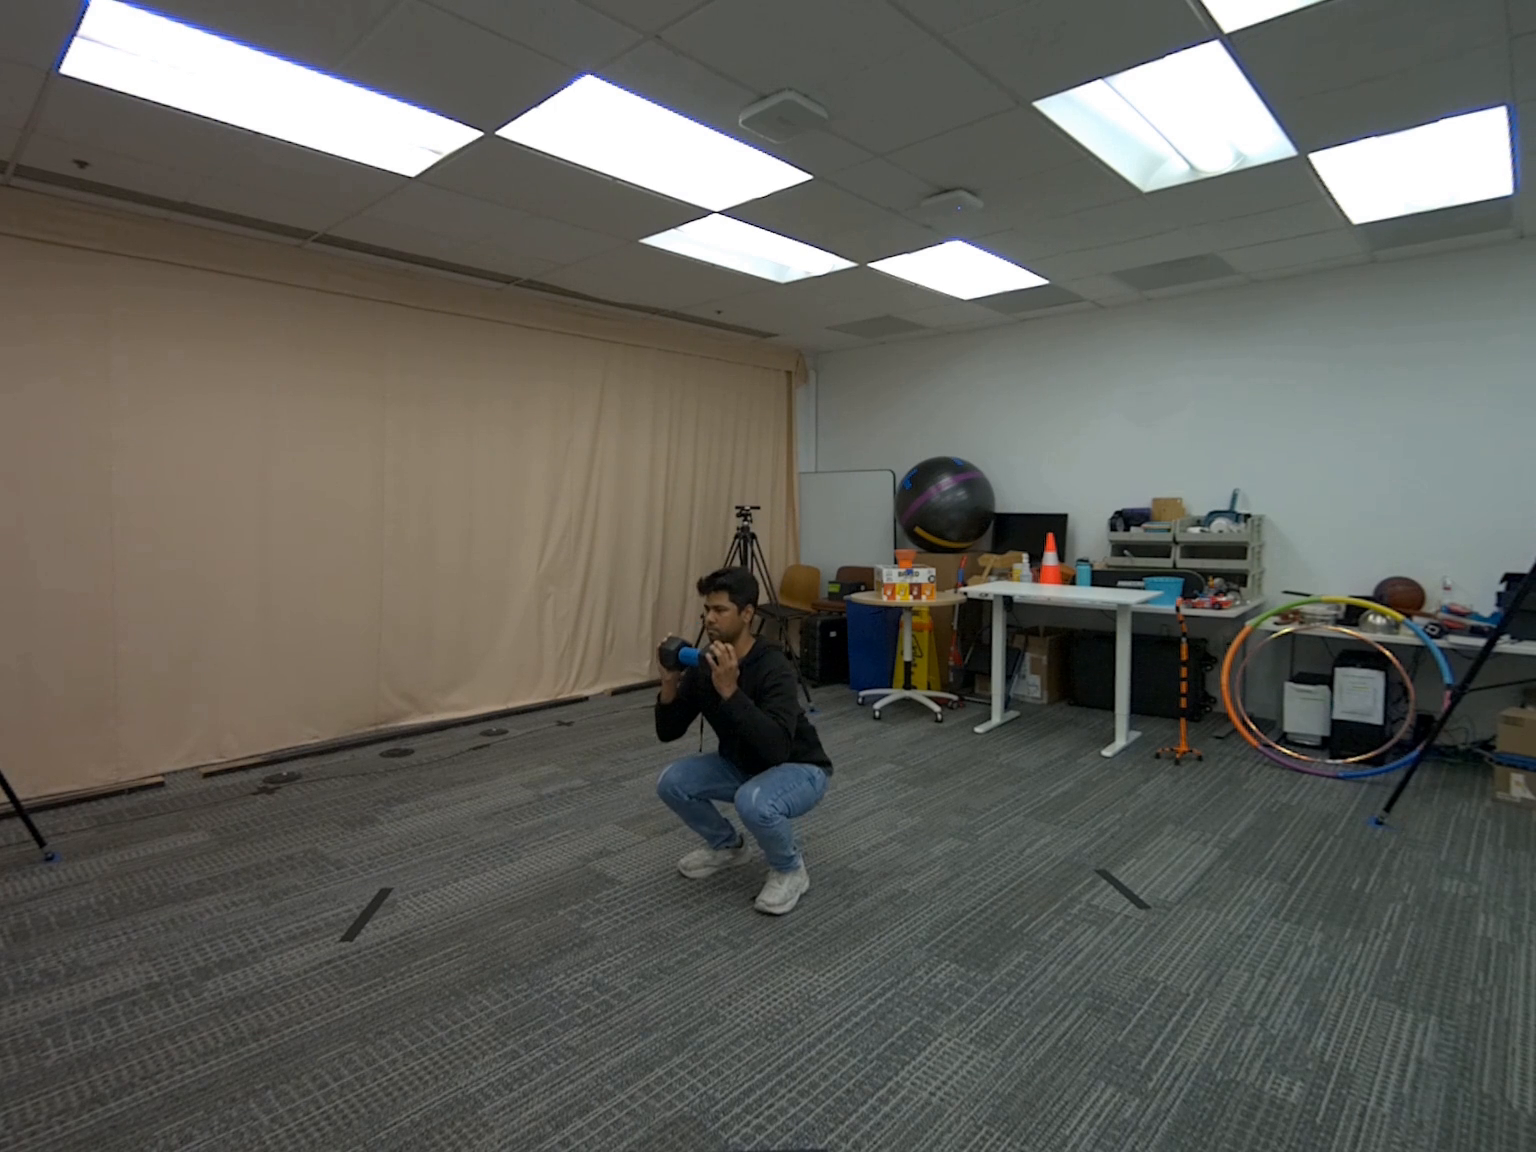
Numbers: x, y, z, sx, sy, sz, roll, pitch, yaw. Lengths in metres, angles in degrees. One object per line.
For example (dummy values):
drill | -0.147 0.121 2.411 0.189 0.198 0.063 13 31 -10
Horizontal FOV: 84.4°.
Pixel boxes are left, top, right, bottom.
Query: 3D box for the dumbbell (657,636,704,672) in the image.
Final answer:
dumbbell | -0.237 0.271 2.896 0.105 0.122 0.303 -6 8 -43
